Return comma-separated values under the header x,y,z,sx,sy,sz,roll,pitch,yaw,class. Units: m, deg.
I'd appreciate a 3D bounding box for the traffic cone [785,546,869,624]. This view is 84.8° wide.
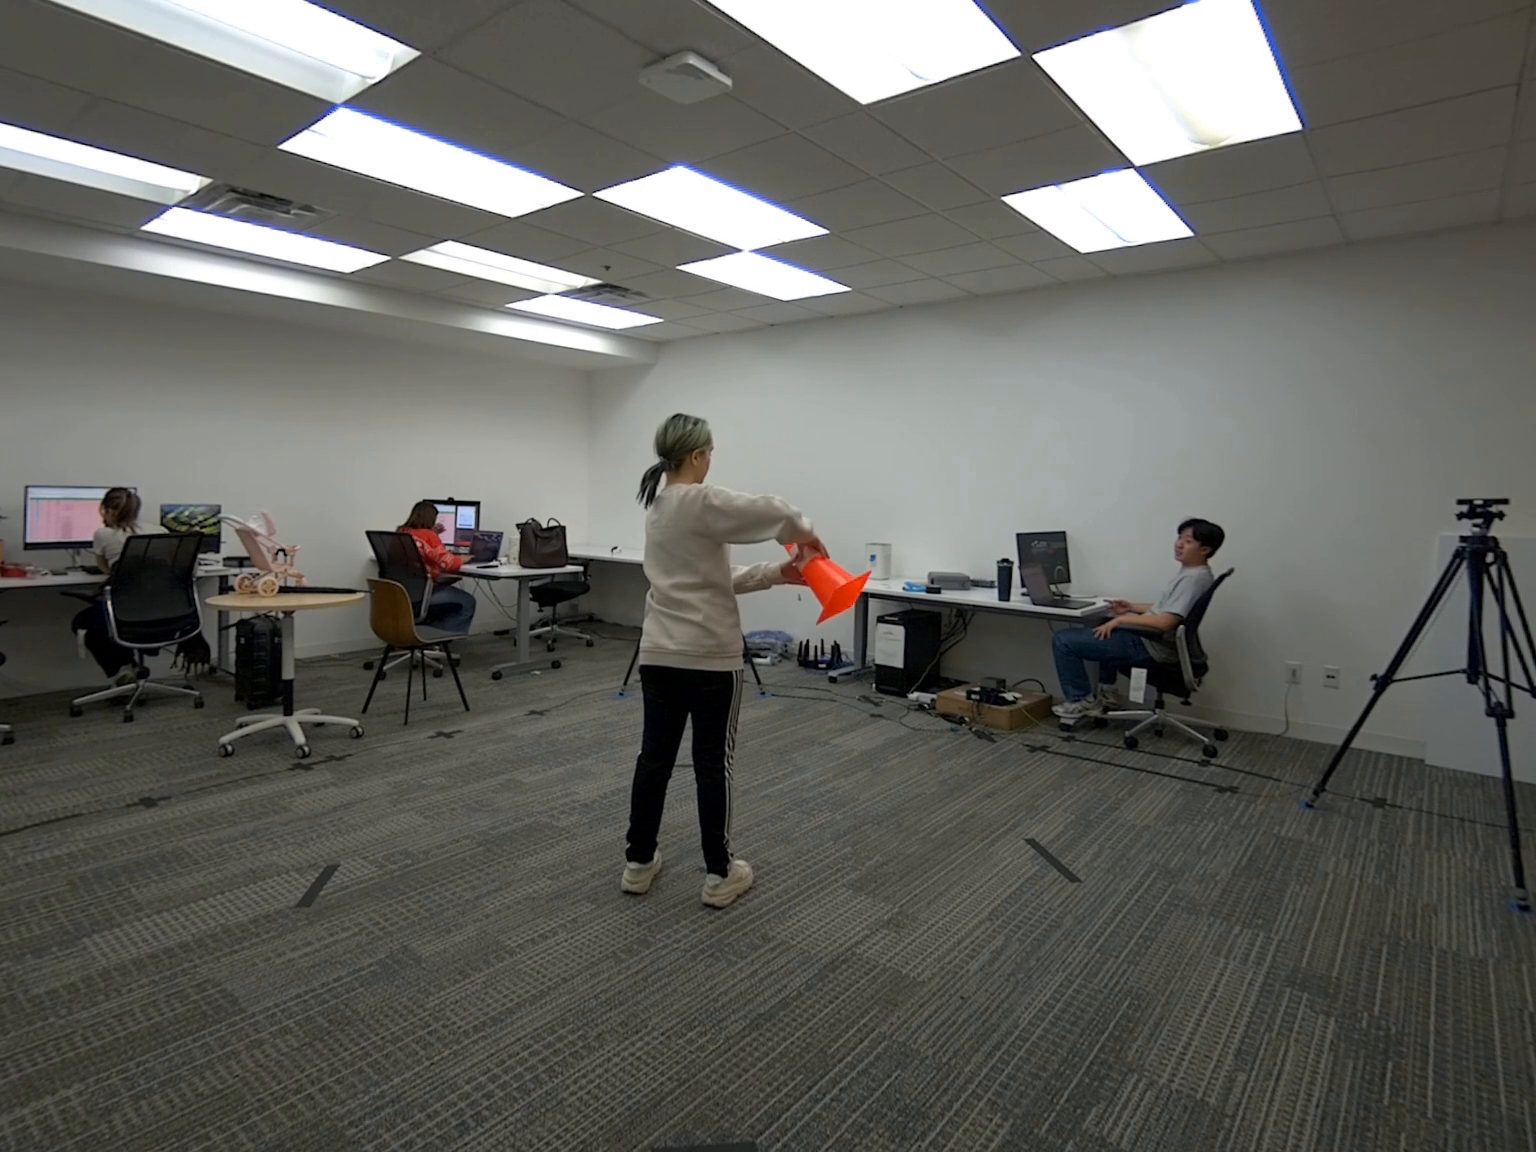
x,y,z,sx,sy,sz,roll,pitch,yaw,class
0.134,-0.057,3.011,0.199,0.202,0.397,-21,57,-39,traffic cone
